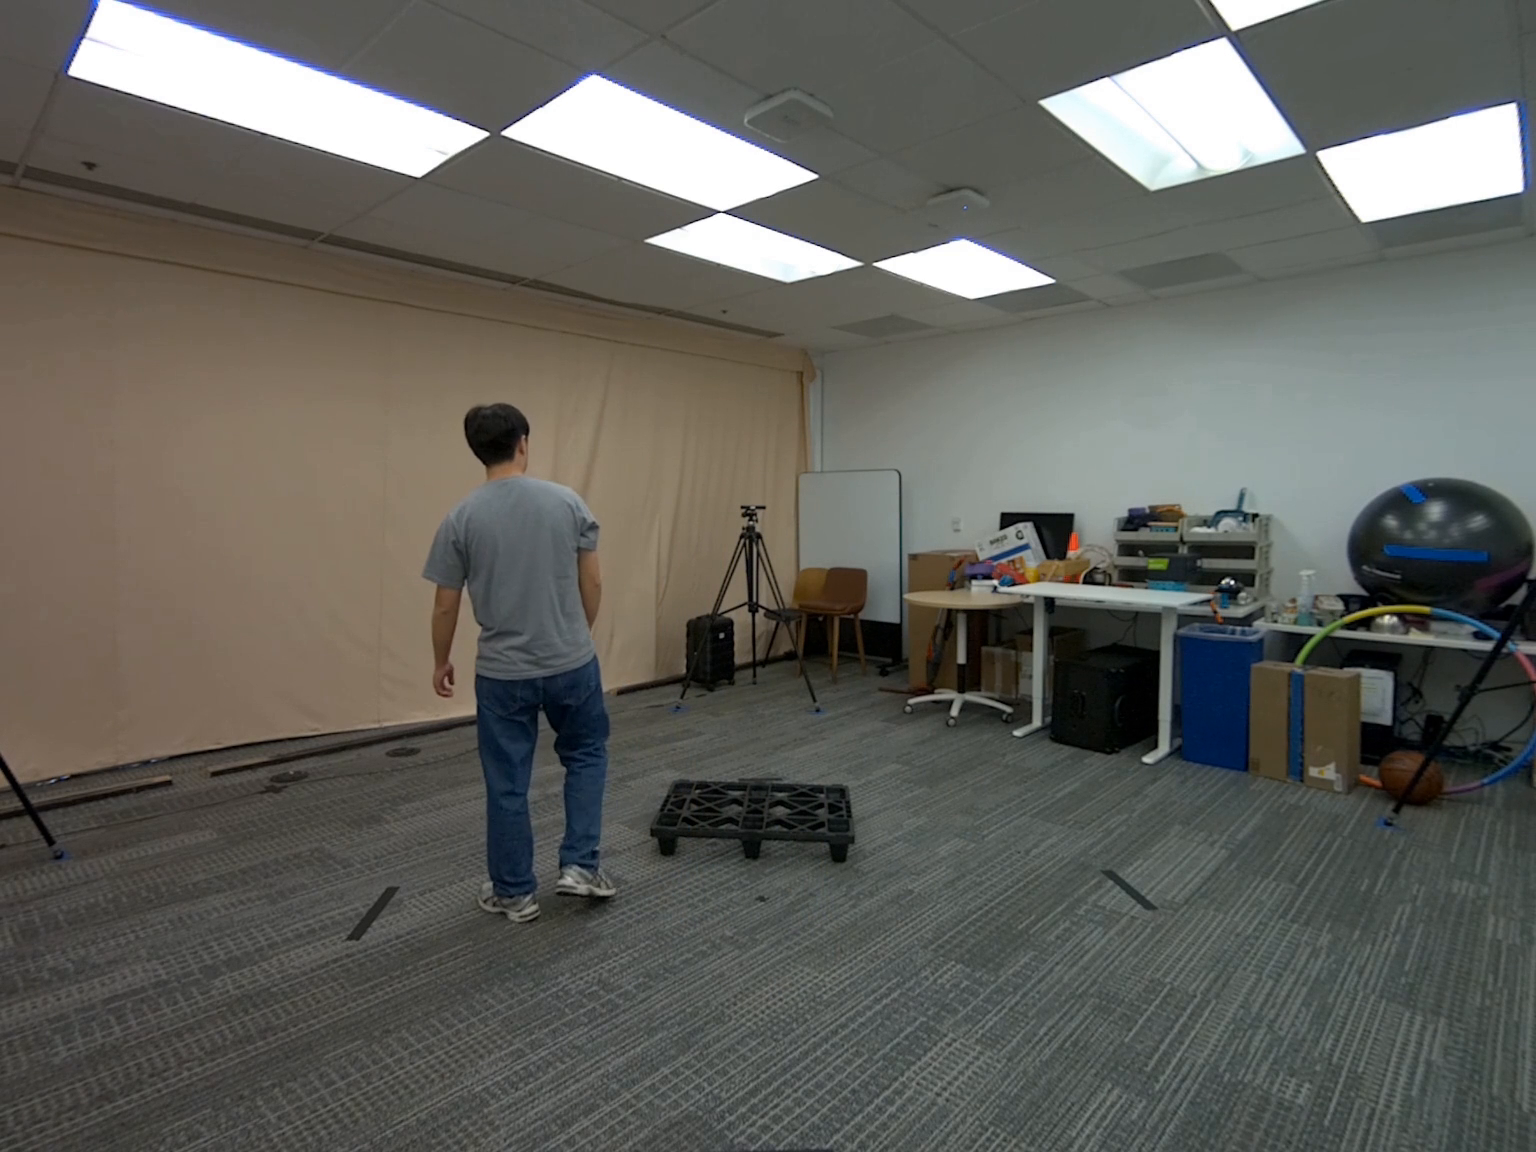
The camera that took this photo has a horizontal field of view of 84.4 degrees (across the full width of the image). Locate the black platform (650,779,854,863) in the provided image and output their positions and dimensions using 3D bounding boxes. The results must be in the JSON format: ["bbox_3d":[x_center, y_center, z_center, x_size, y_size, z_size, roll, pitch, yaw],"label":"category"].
[{"bbox_3d":[-0.046,1.027,3.541,0.811,0.143,0.603,0,5,5],"label":"black platform"}]
